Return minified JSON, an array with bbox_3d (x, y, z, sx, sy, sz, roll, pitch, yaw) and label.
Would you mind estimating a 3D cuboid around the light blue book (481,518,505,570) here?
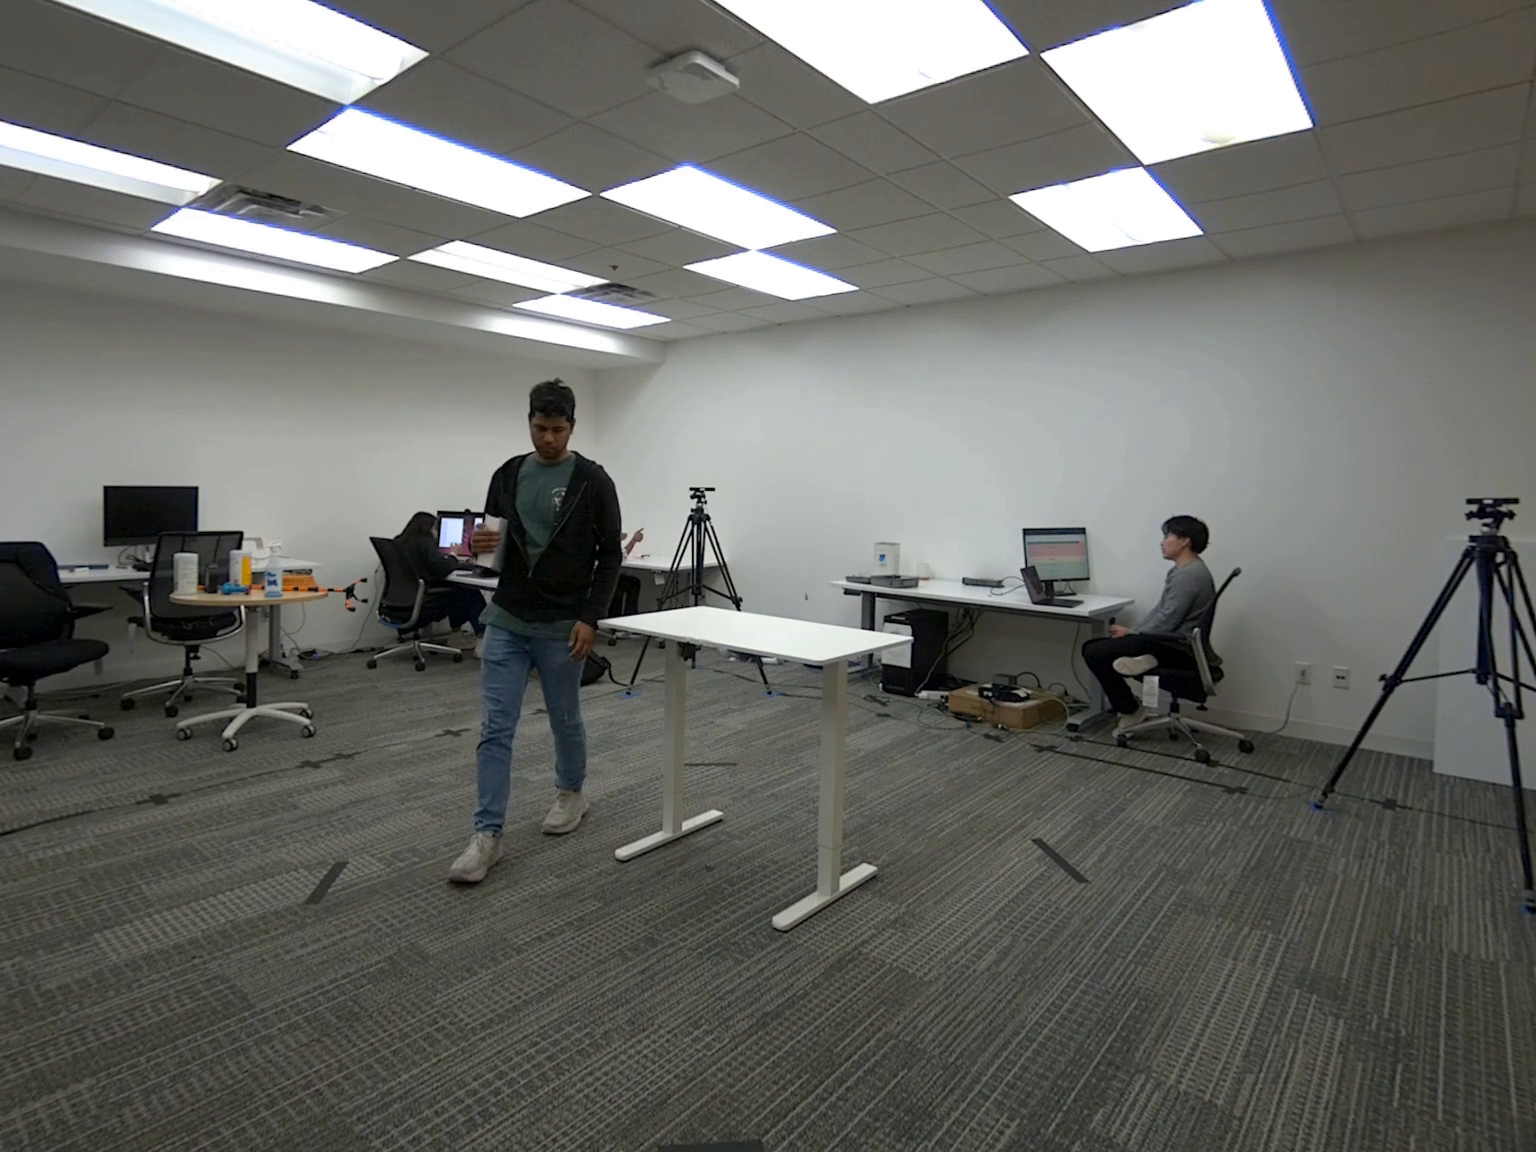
[{"bbox_3d":[-1.027,-0.132,3.215,0.058,0.192,0.261,8,-7,-7],"label":"light blue book"}]
